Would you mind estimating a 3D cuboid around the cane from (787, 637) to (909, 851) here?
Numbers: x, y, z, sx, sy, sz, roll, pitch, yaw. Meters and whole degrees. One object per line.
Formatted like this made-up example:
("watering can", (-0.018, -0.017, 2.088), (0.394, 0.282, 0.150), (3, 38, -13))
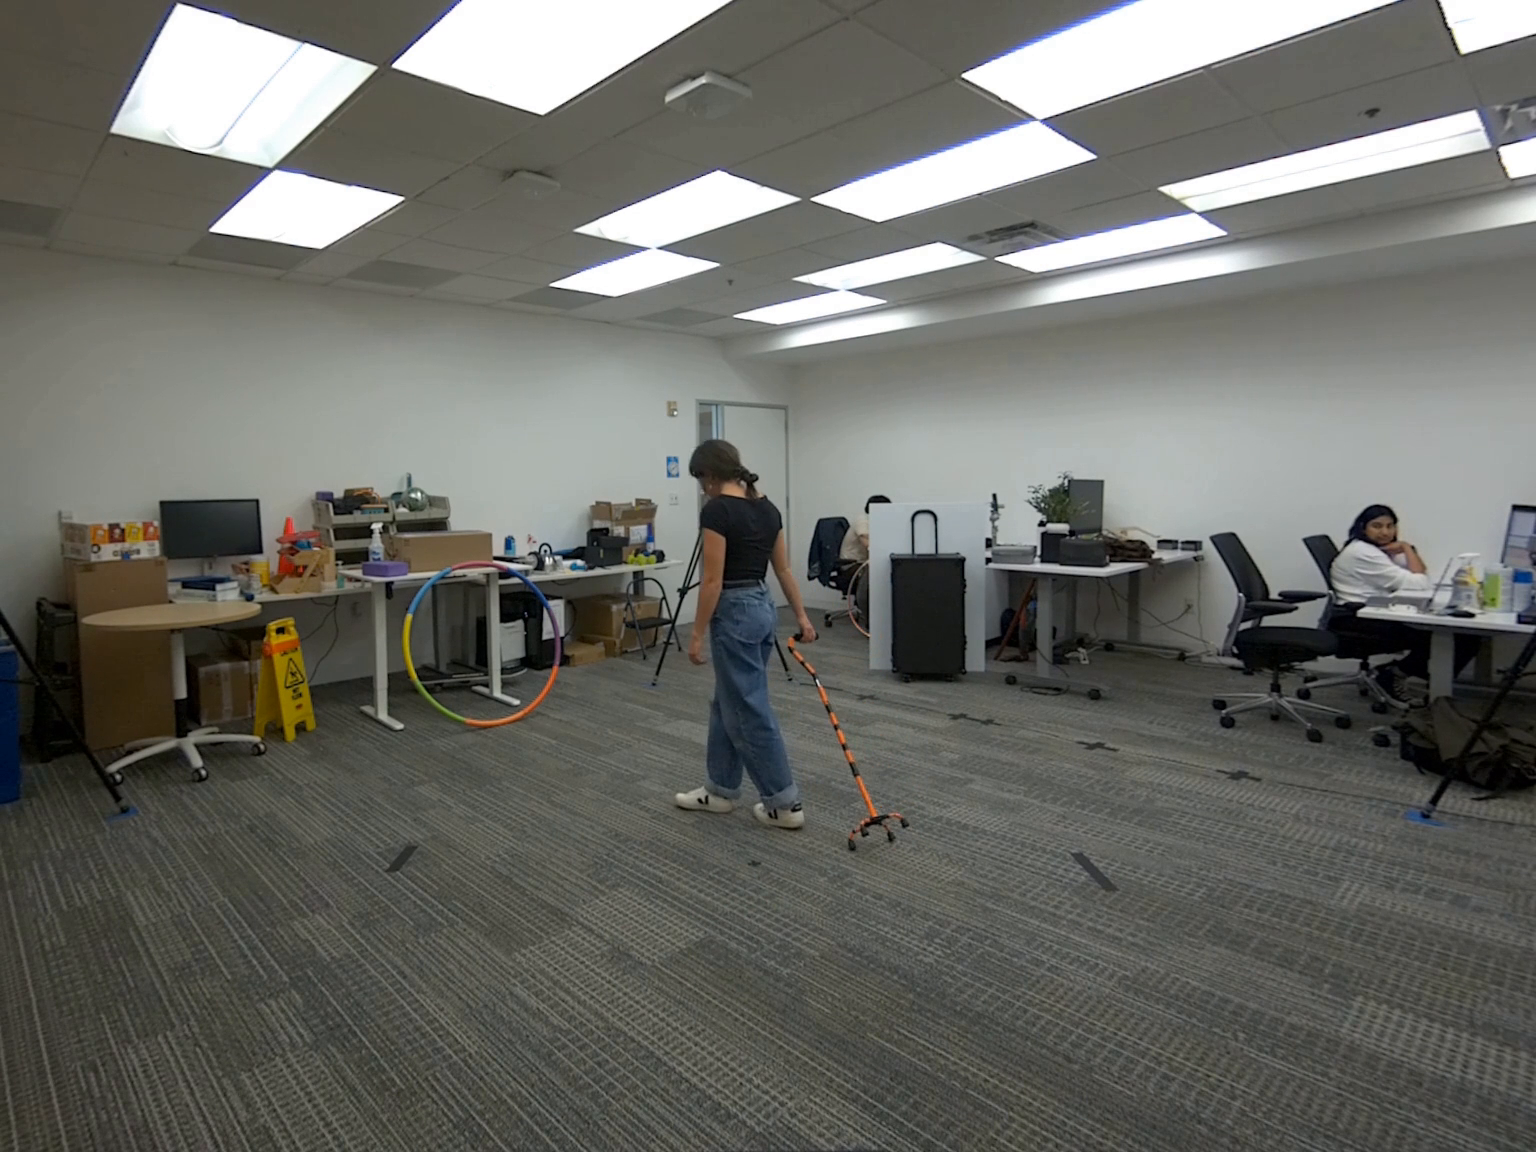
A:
("cane", (0.278, 0.621, 3.457), (0.202, 0.939, 0.149), (-3, -39, -24))
